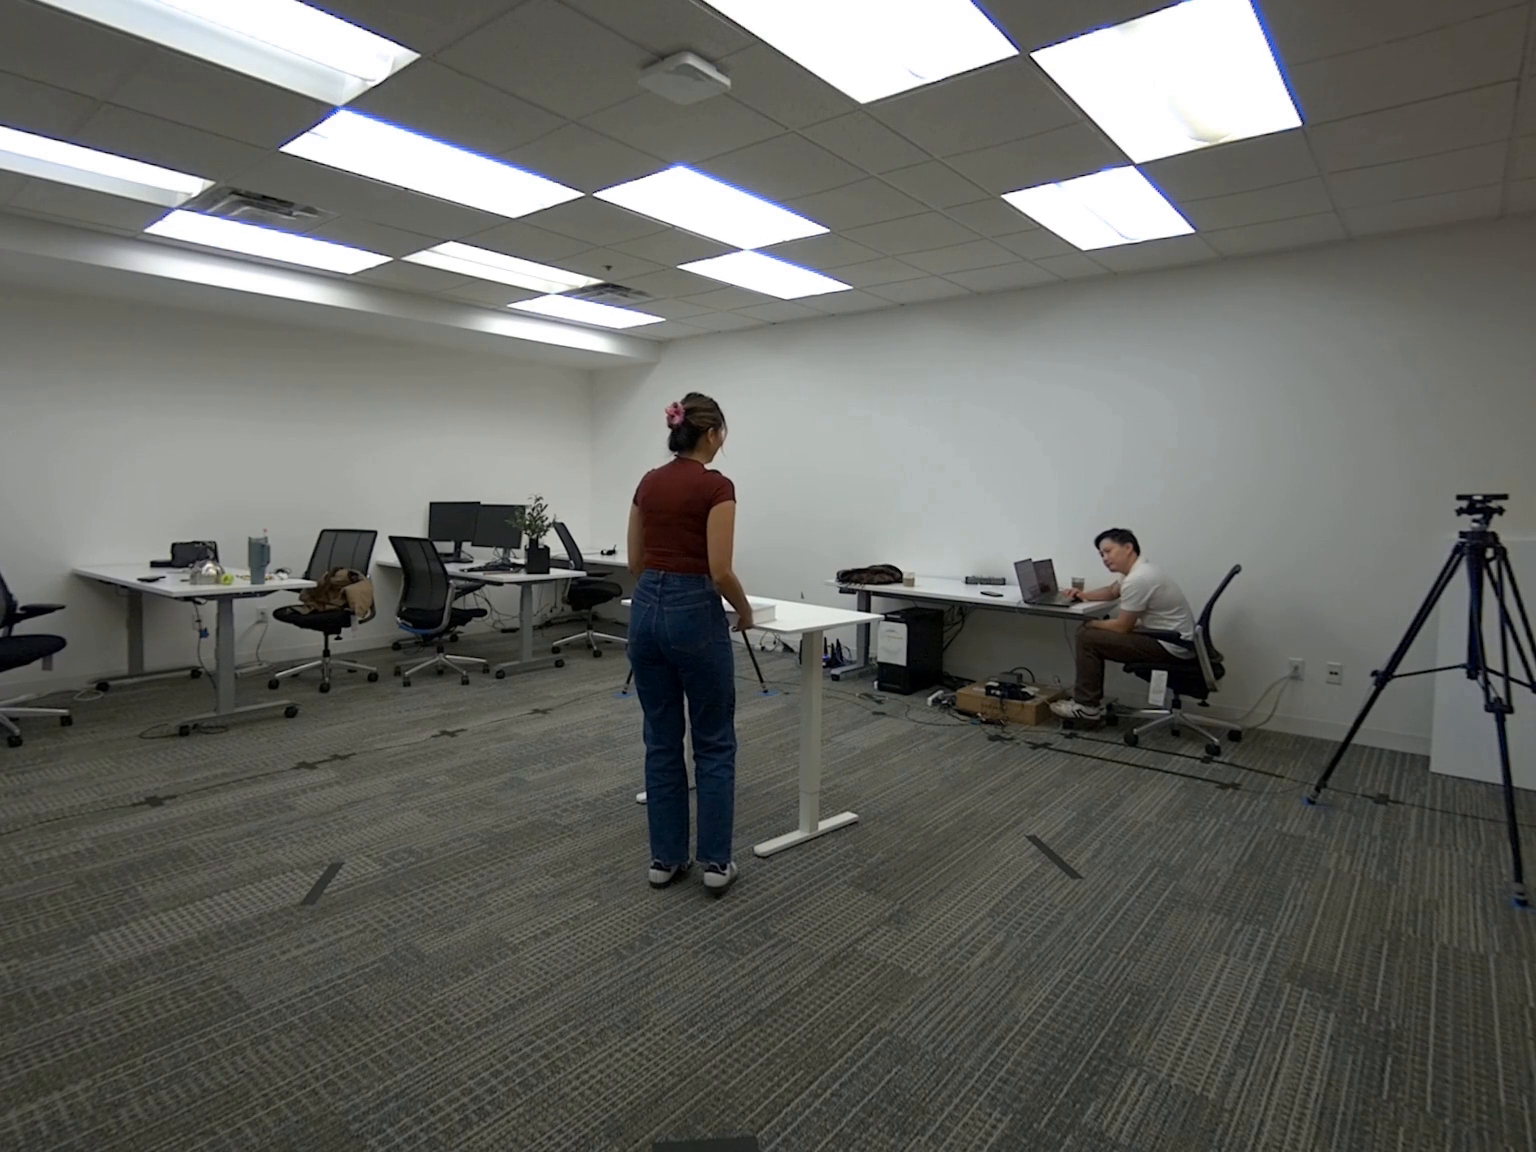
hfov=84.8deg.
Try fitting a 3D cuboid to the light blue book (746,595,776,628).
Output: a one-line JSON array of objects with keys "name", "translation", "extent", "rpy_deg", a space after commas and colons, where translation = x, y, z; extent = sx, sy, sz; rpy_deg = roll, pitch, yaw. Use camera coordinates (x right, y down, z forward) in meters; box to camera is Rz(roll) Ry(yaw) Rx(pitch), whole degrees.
[{"name": "light blue book", "translation": [-0.096, 0.144, 3.277], "extent": [0.197, 0.059, 0.255], "rpy_deg": [3, 6, 28]}]
